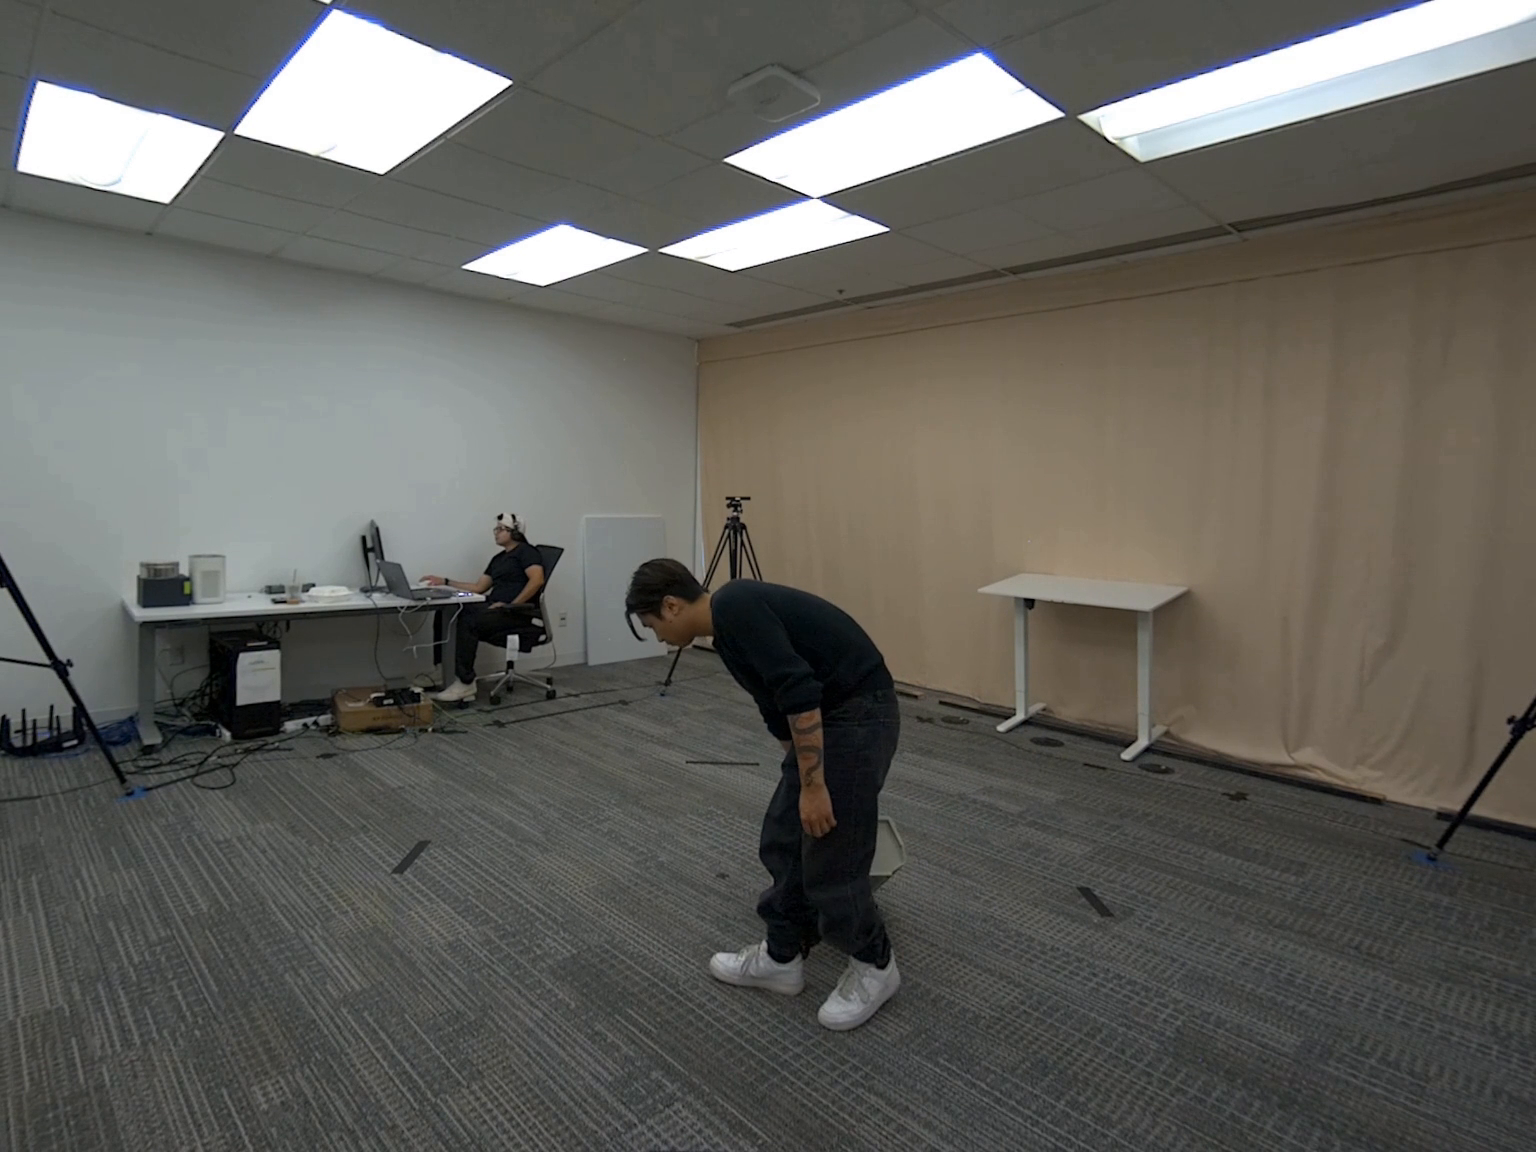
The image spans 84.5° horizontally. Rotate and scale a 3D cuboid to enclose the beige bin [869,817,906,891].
[{"bbox_3d":[0.210,0.949,2.779,0.375,0.193,0.416,1,-32,-8],"label":"beige bin"}]
